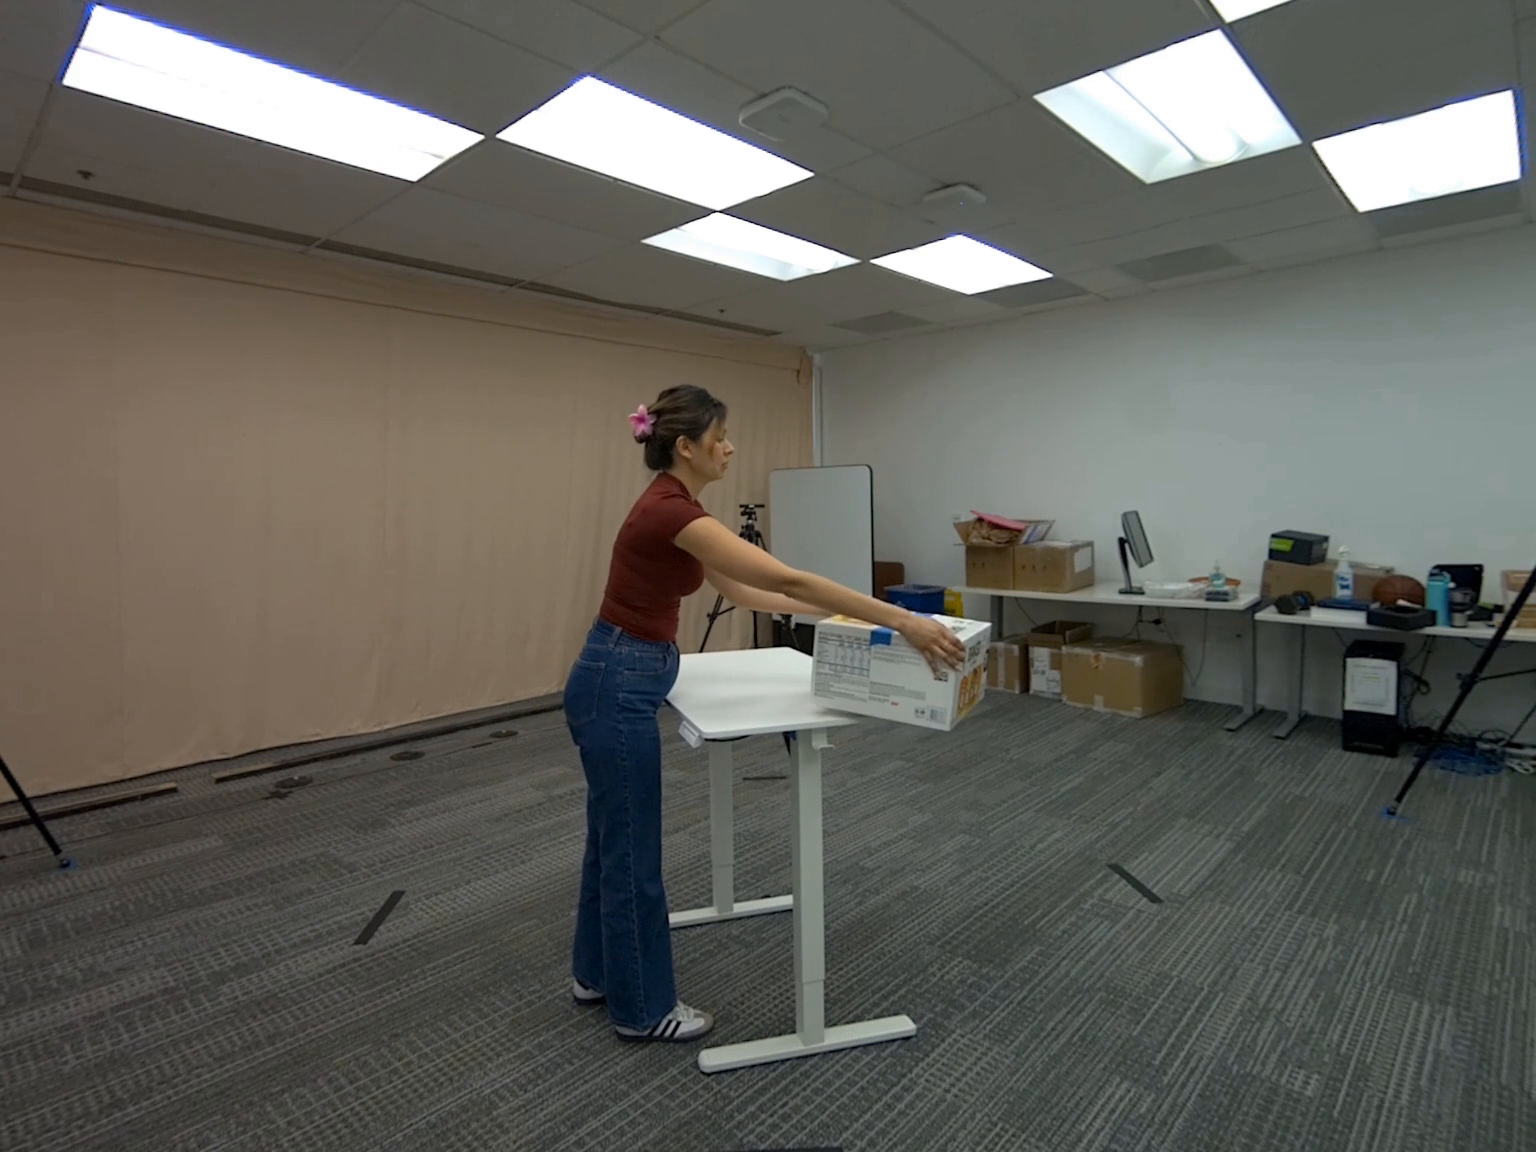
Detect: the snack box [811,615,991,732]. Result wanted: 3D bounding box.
[{"bbox_3d":[0.344,0.210,2.115,0.350,0.205,0.395,5,6,26],"label":"snack box"}]
